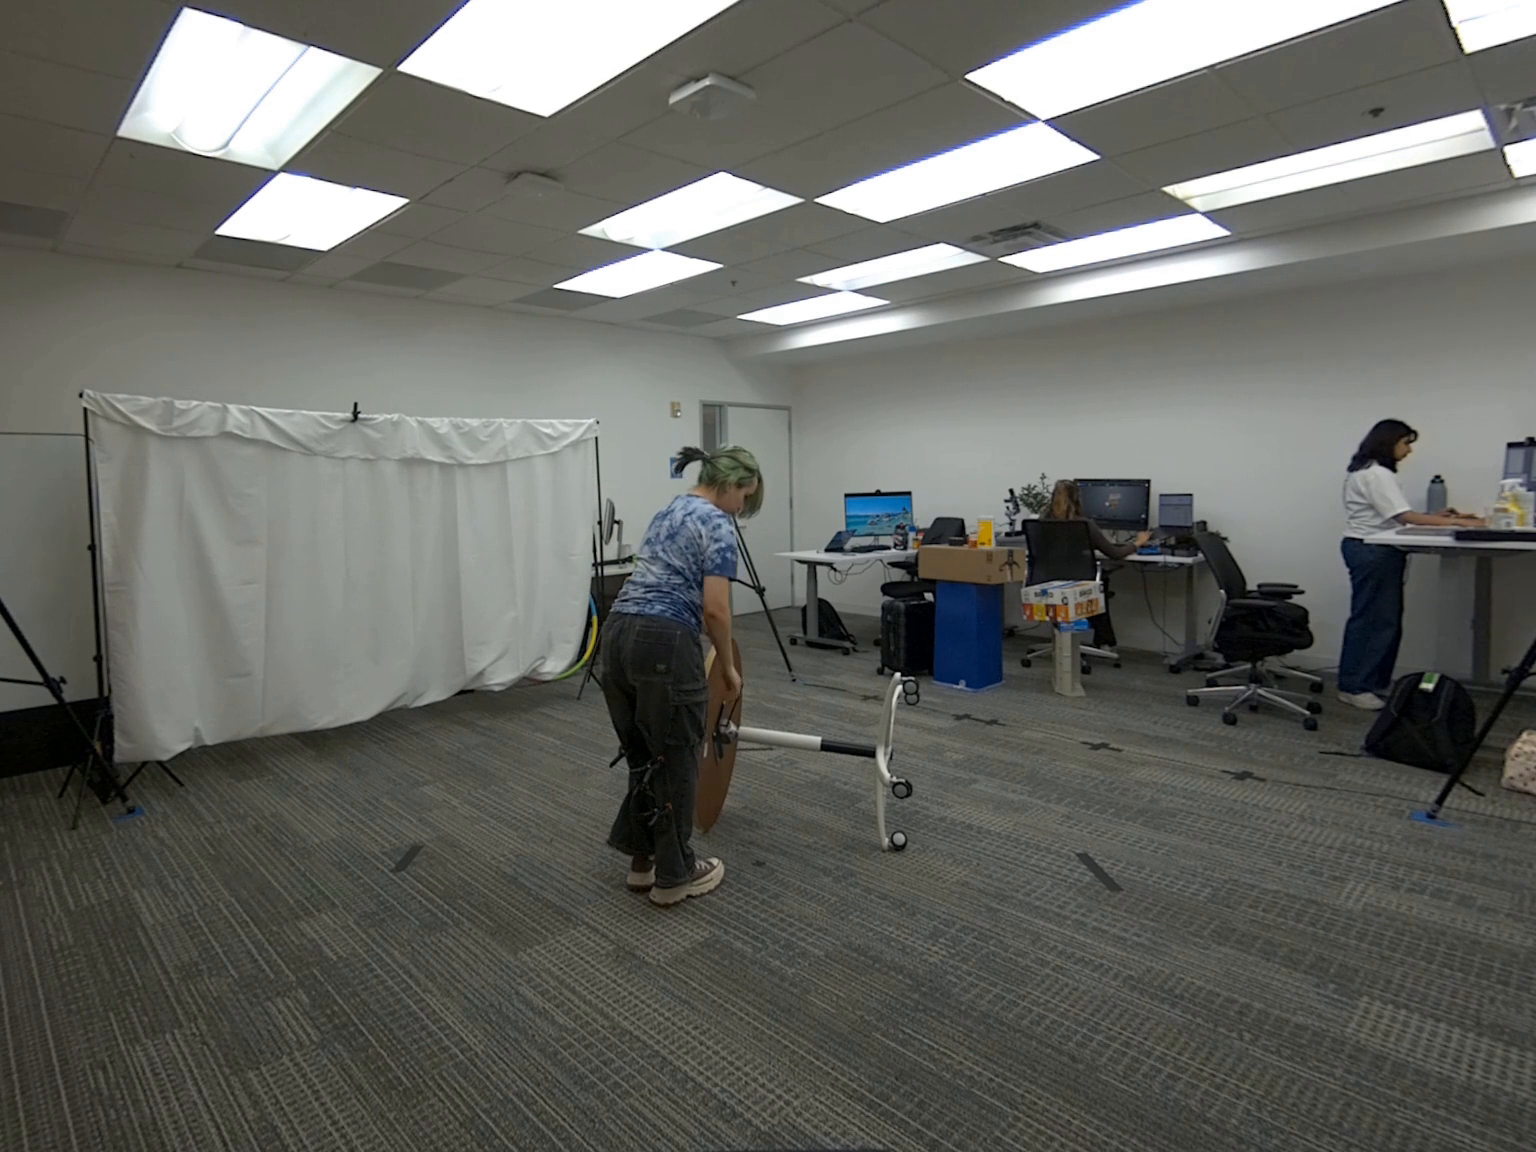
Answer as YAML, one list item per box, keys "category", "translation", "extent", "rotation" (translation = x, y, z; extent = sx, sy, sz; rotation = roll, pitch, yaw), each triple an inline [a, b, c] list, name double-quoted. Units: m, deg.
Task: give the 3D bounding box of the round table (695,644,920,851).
- category: "round table"
  translation: [0.171, 0.665, 3.367]
  extent: [0.805, 0.761, 0.757]
  rotation: [5, 6, 12]
